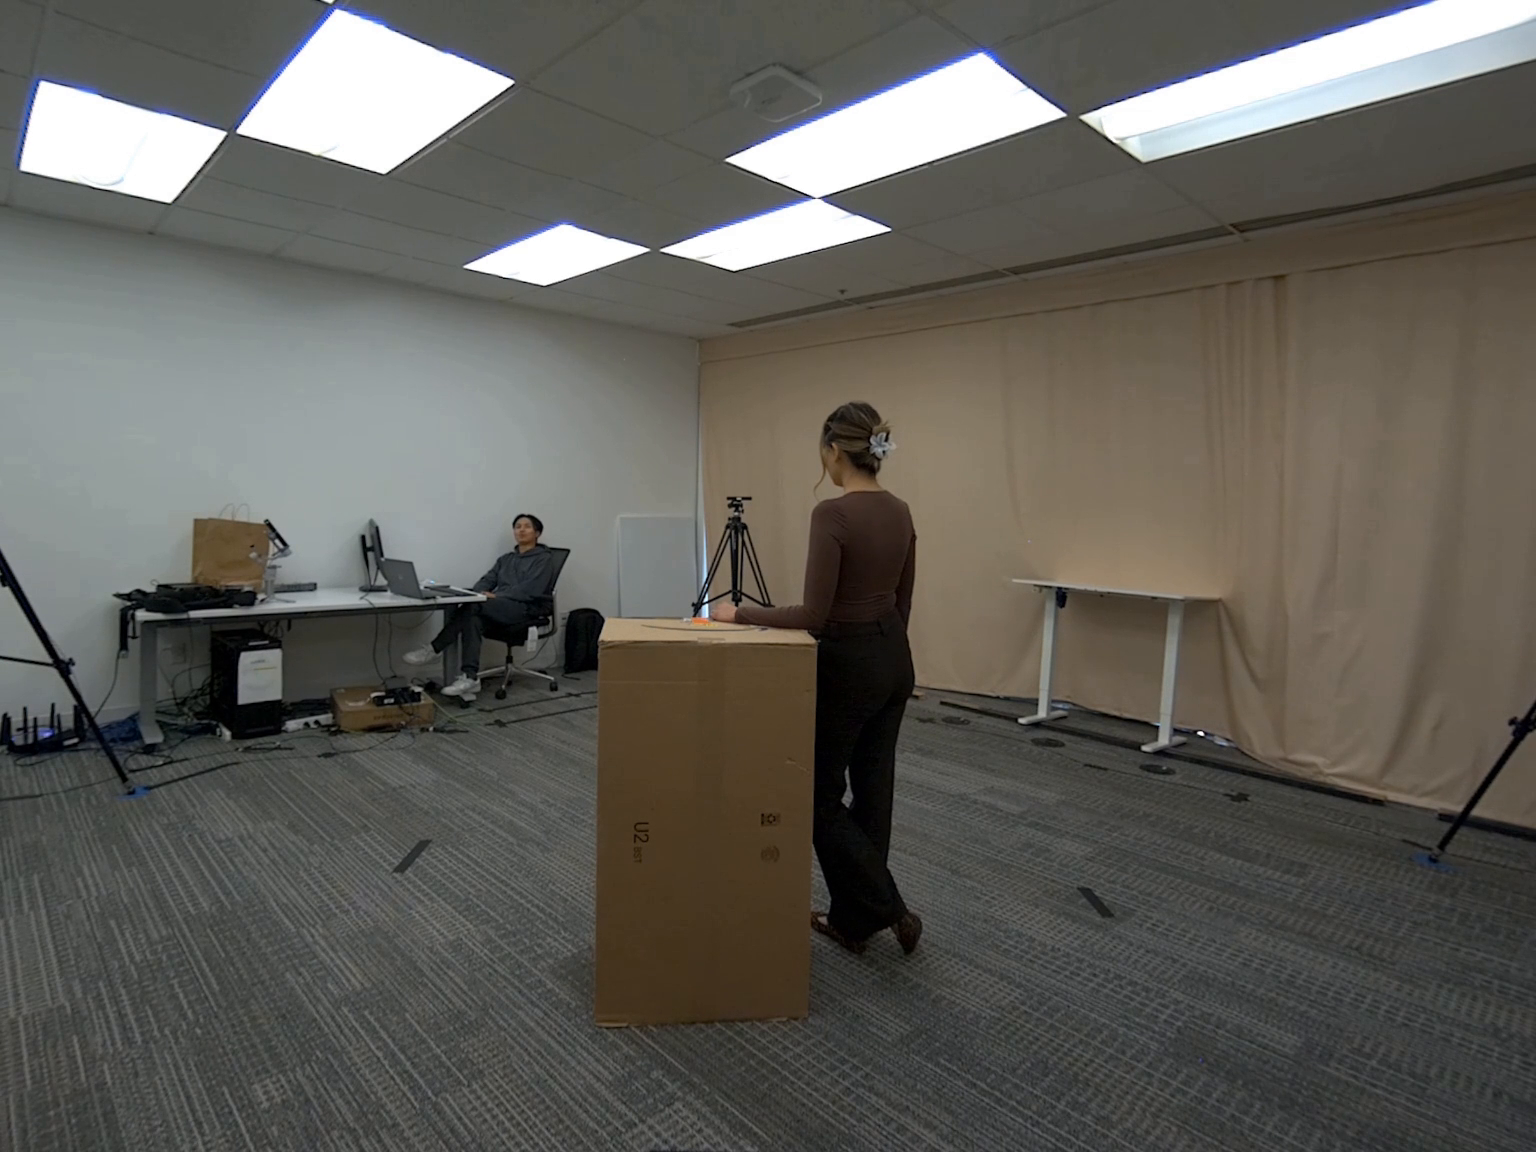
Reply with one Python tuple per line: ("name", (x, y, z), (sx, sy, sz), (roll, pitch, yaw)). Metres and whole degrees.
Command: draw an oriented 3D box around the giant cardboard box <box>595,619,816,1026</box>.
("giant cardboard box", (-0.202, 0.662, 2.410), (0.580, 1.024, 0.450), (1, 3, -8))
